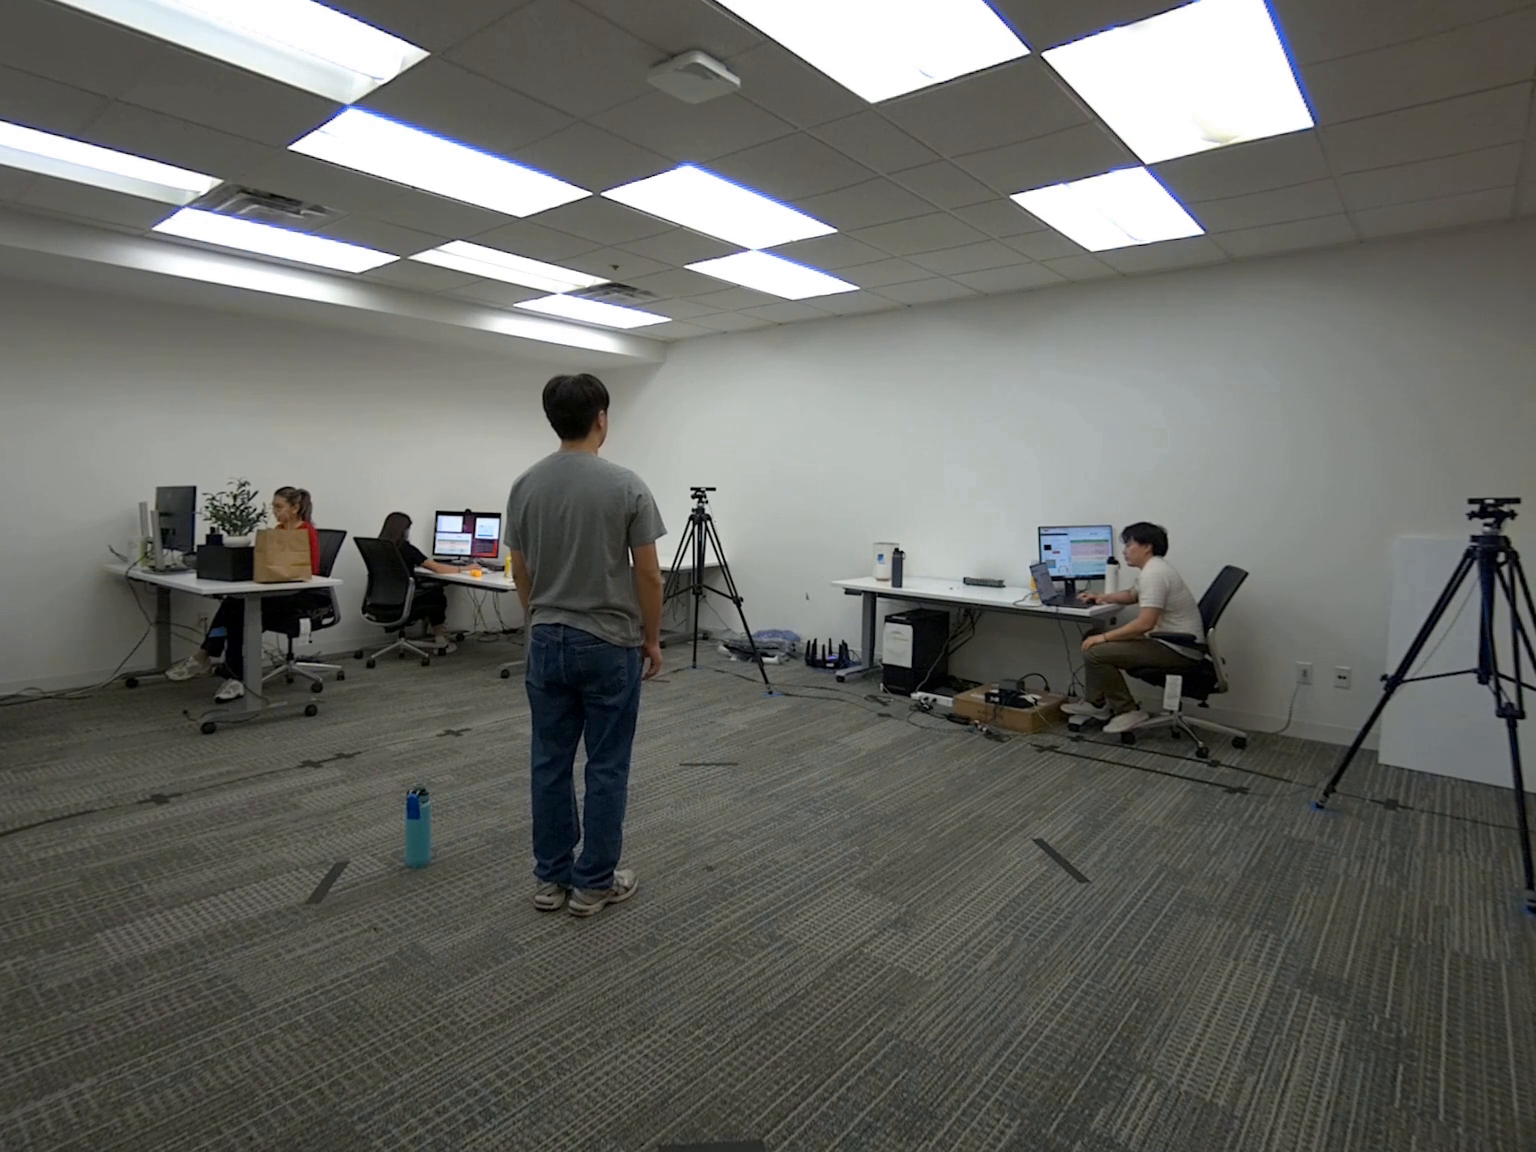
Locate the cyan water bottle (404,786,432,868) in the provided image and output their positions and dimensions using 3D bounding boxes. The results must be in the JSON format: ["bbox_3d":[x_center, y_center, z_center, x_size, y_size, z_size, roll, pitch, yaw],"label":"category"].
[{"bbox_3d":[-1.295,0.907,3.112,0.092,0.282,0.093,3,5,-2],"label":"cyan water bottle"}]
